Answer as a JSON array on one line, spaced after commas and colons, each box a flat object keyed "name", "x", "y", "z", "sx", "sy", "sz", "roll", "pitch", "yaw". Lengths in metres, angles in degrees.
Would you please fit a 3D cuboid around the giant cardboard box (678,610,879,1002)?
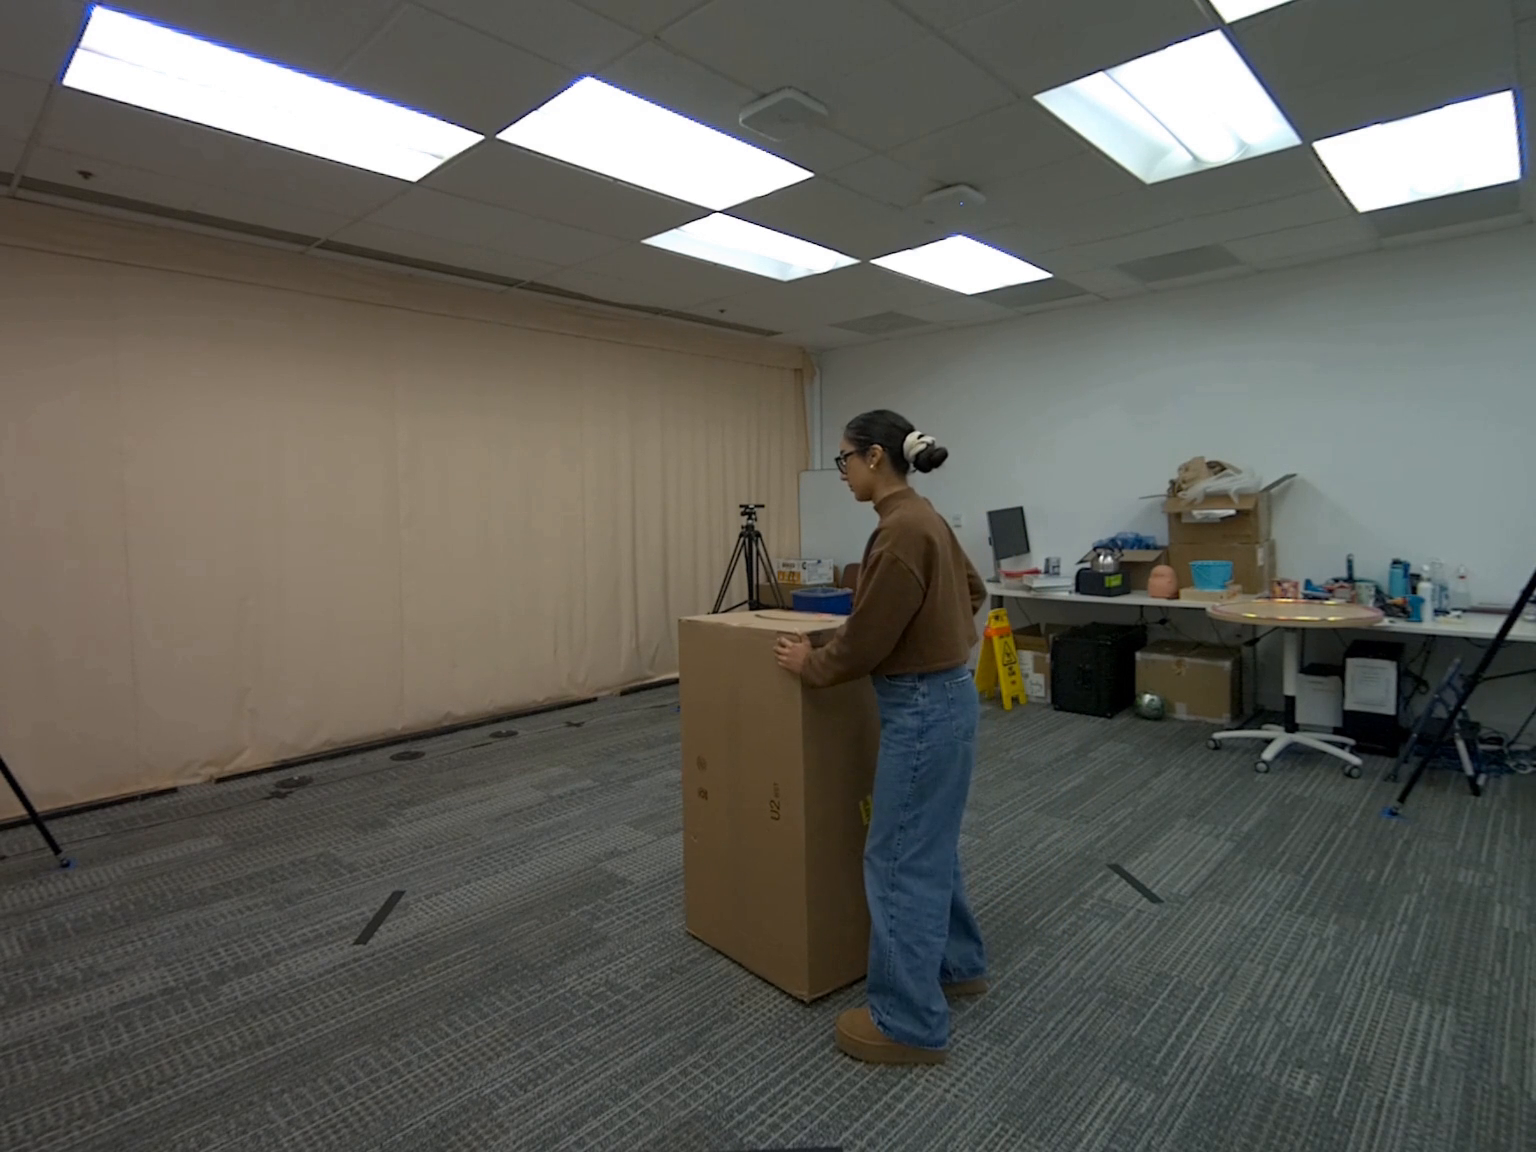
[{"name": "giant cardboard box", "x": 0.064, "y": 0.651, "z": 2.663, "sx": 0.413, "sy": 1.025, "sz": 0.596, "roll": -2, "pitch": 2, "yaw": -40}]
